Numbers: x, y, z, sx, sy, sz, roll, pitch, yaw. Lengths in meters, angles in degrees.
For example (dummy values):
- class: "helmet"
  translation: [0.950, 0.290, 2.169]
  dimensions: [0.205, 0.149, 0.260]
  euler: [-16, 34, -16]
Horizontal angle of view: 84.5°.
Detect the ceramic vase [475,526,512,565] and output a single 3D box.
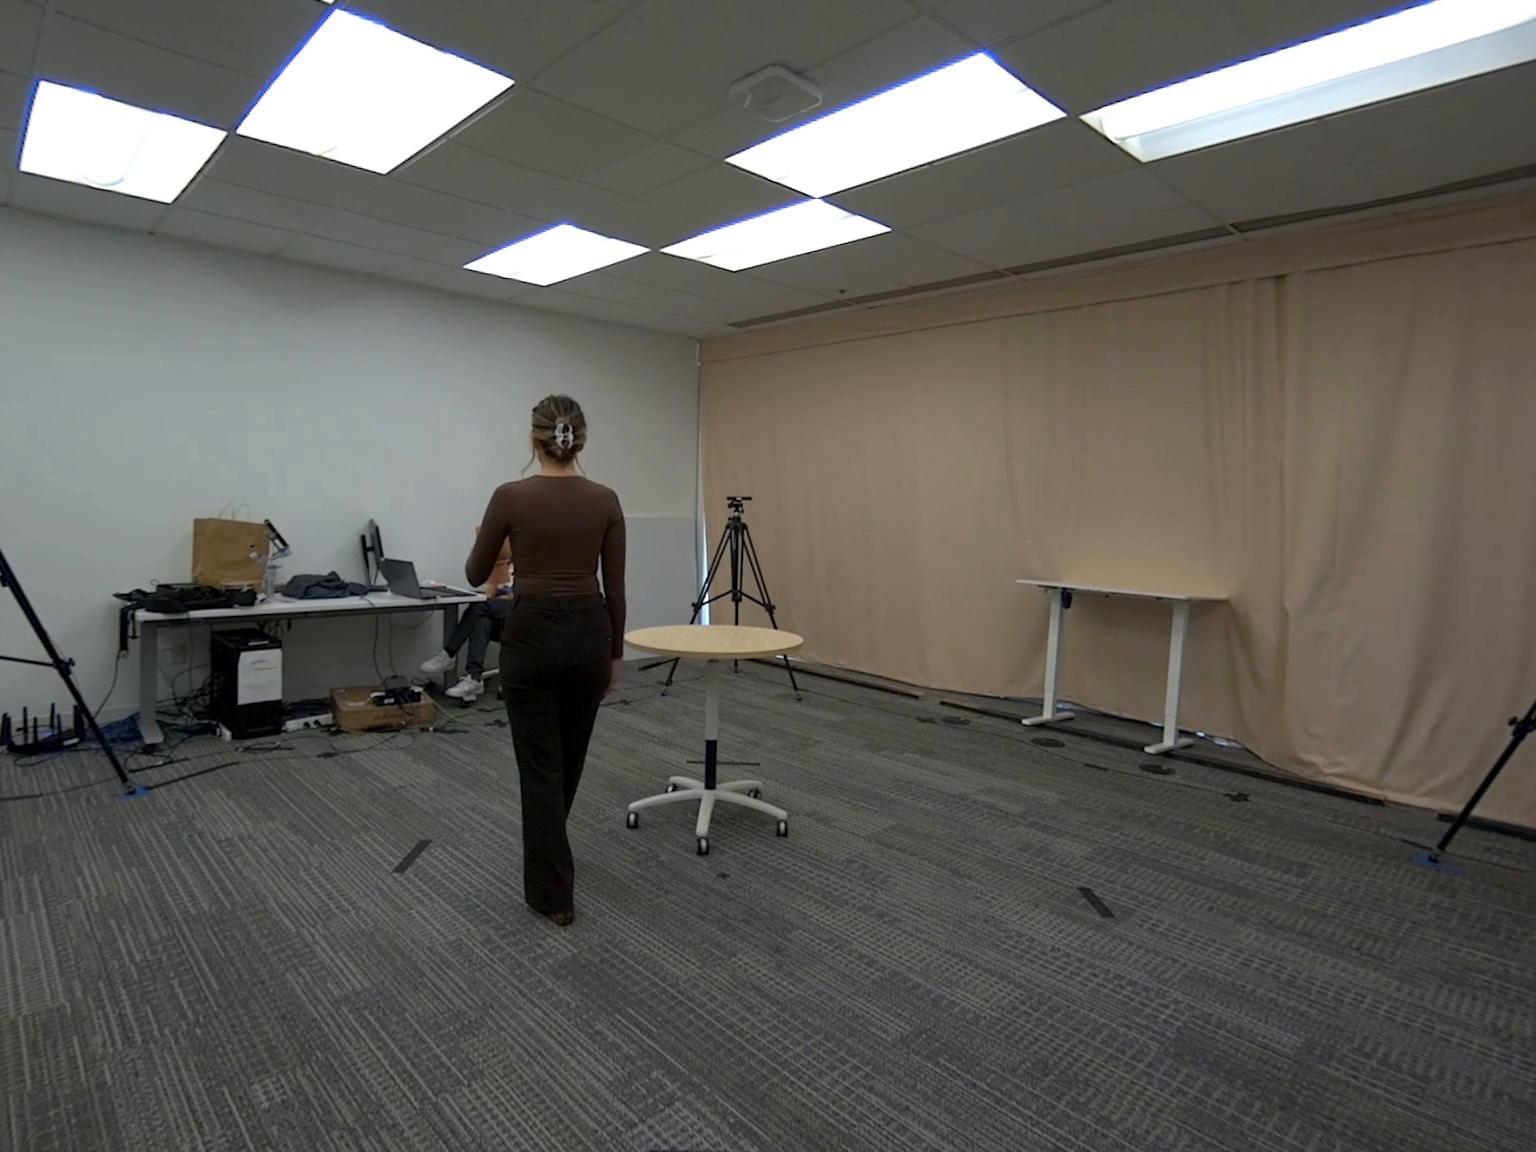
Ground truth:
- class: "ceramic vase"
  translation: [-1.053, -0.085, 3.179]
  dimensions: [0.137, 0.219, 0.156]
  euler: [2, 5, 30]
